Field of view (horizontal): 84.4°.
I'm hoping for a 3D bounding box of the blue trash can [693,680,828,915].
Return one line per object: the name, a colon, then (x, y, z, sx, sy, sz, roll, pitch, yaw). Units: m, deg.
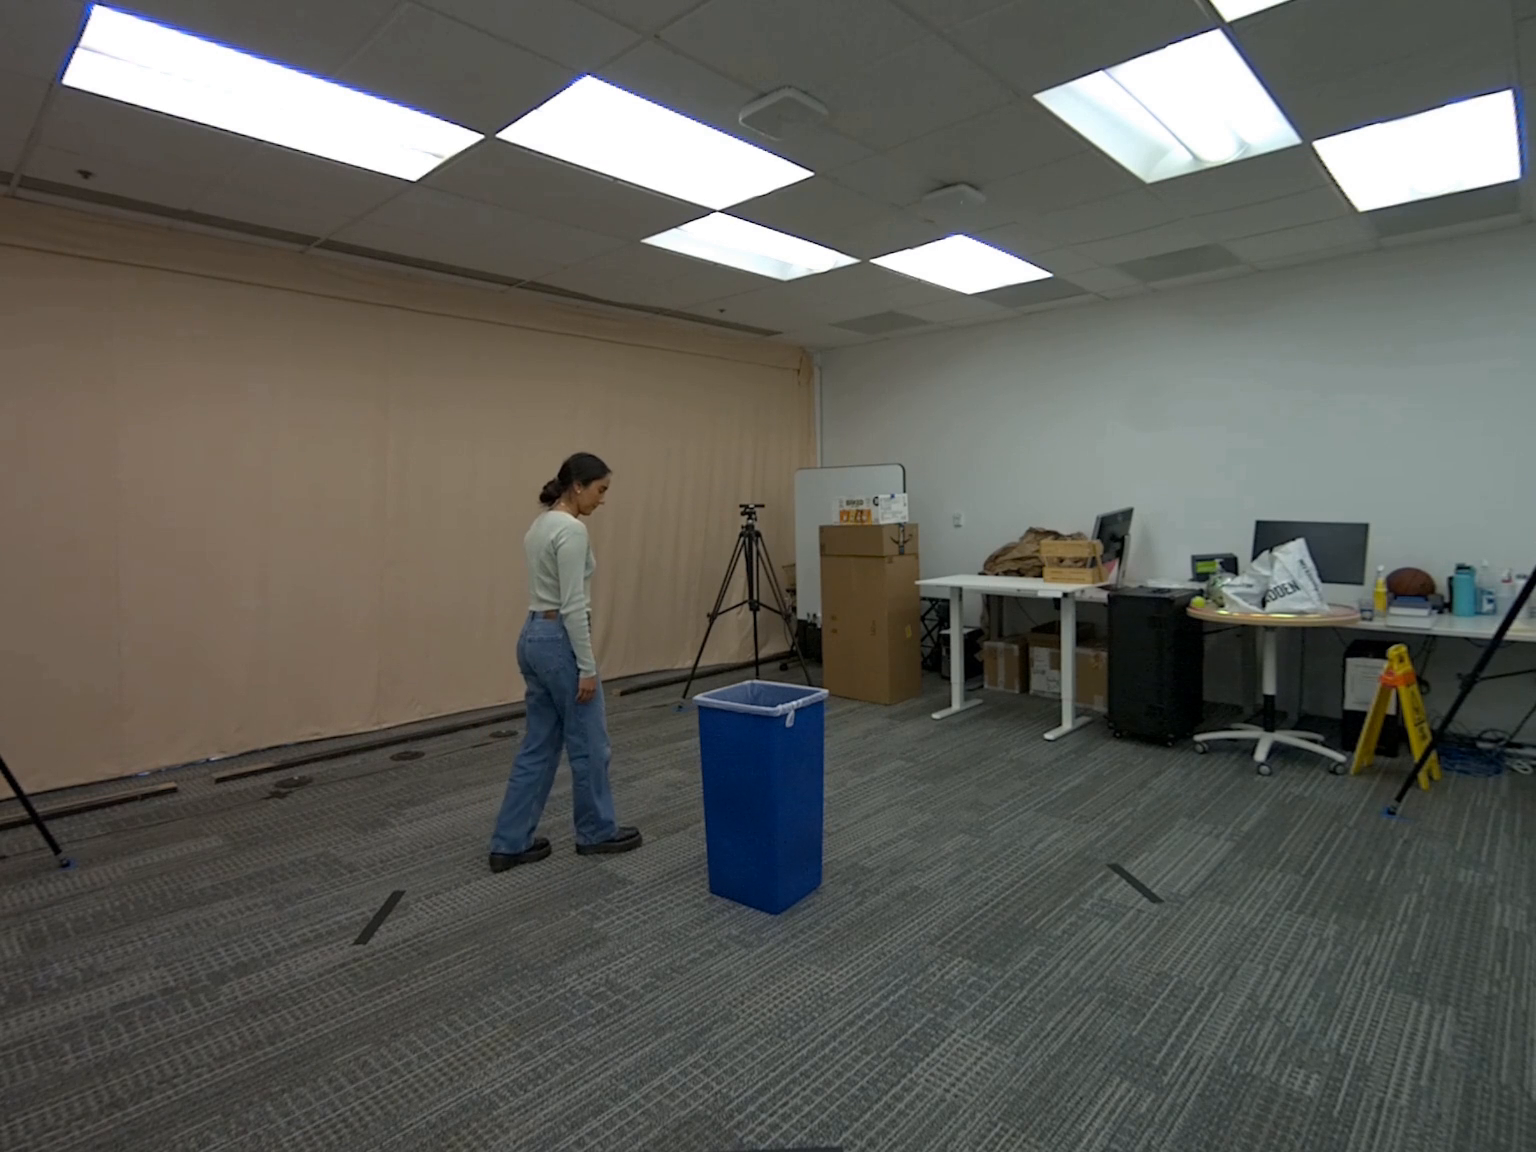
blue trash can: (-0.019, 0.776, 3.035, 0.386, 0.712, 0.367, 2, 4, 37)
